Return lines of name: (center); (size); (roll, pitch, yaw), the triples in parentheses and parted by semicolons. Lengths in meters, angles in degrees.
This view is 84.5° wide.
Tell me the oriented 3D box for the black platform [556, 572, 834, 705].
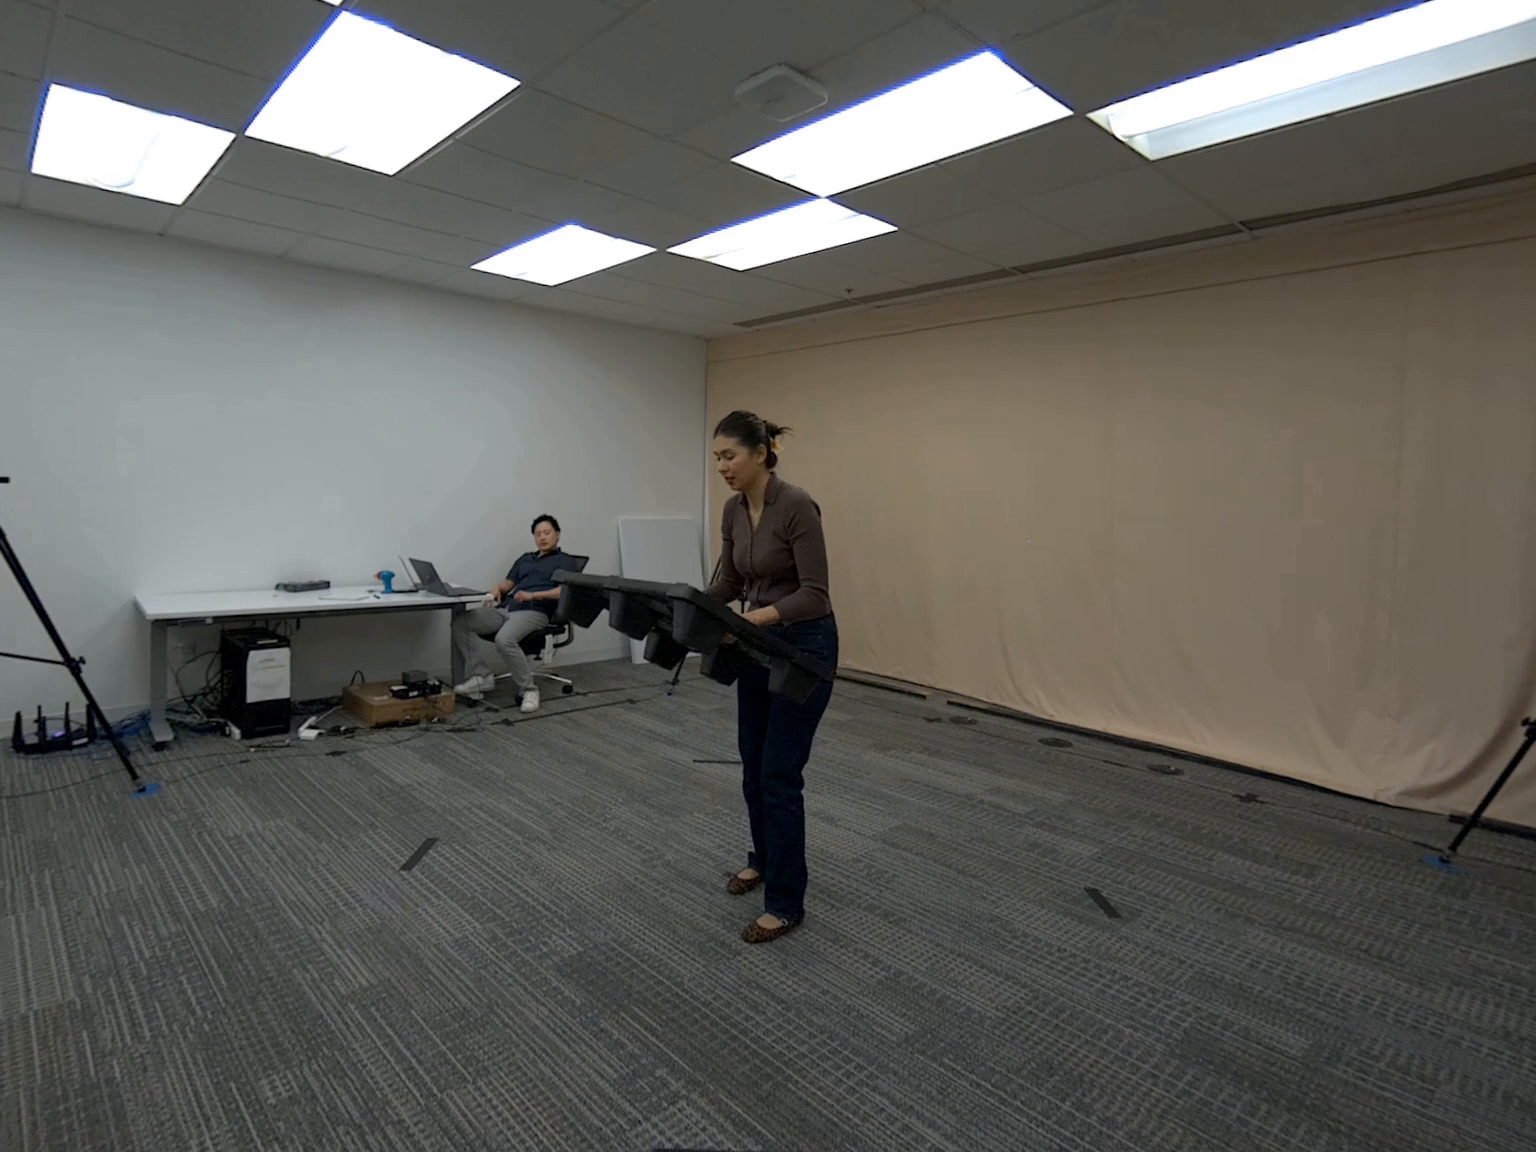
black platform: (-0.273, 0.188, 2.586); (0.587, 0.144, 0.825); (33, -17, -35)
